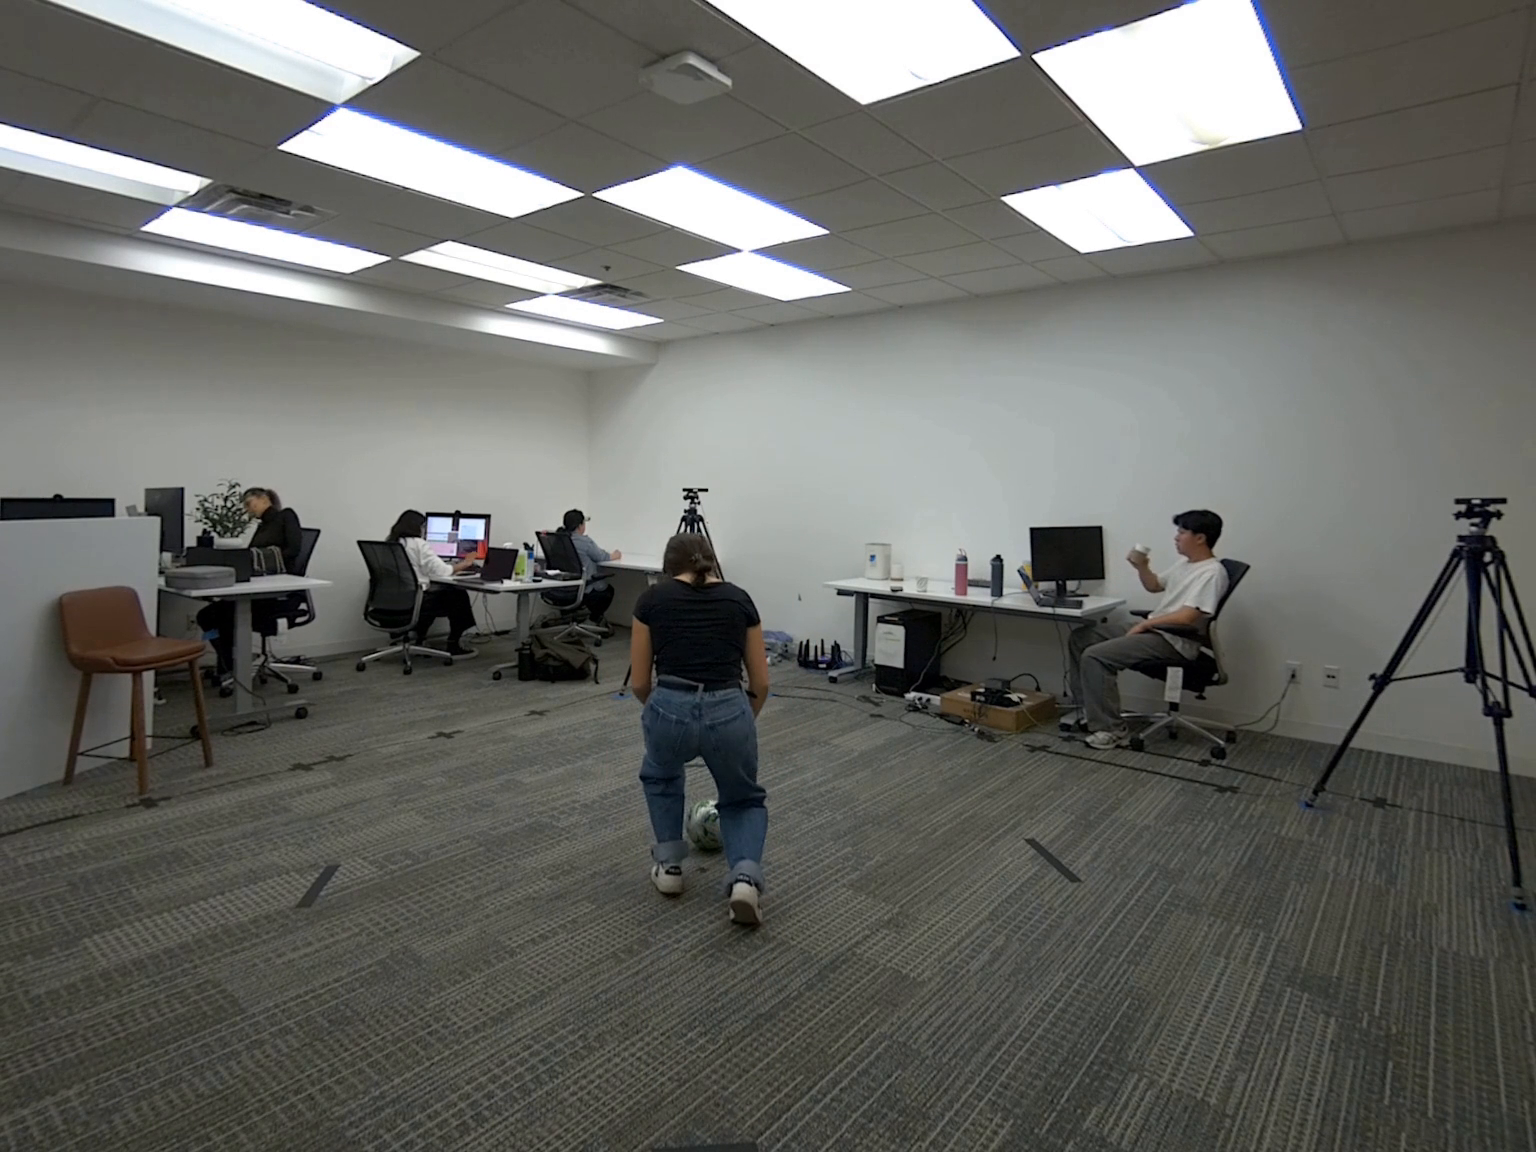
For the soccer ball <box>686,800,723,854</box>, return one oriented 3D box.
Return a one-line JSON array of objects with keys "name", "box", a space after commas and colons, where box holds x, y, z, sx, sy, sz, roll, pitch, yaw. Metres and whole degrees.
[{"name": "soccer ball", "box": [-0.224, 0.953, 3.300, 0.187, 0.187, 0.188, 1, 4, -2]}]
